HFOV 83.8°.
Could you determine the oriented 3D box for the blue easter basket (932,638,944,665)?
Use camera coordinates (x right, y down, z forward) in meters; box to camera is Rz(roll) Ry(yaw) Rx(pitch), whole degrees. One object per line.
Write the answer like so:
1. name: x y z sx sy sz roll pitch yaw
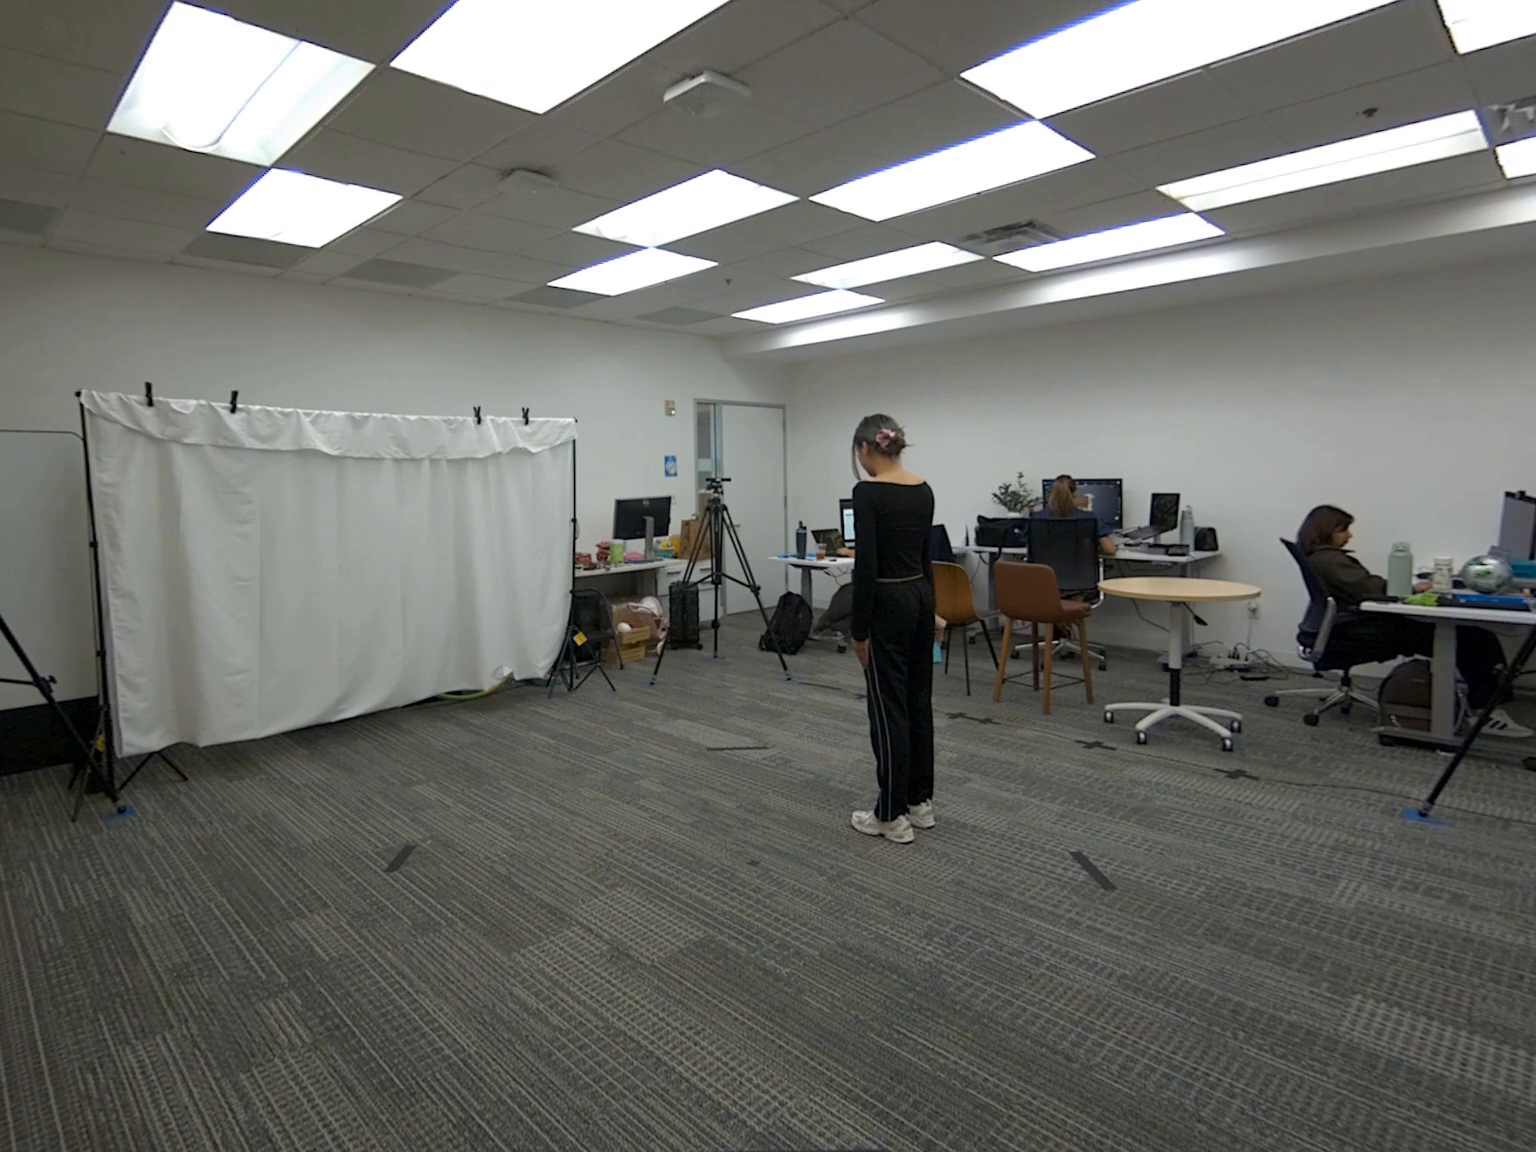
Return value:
1. blue easter basket: 0.637 0.309 3.675 0.243 0.158 0.241 -10 -12 -4
